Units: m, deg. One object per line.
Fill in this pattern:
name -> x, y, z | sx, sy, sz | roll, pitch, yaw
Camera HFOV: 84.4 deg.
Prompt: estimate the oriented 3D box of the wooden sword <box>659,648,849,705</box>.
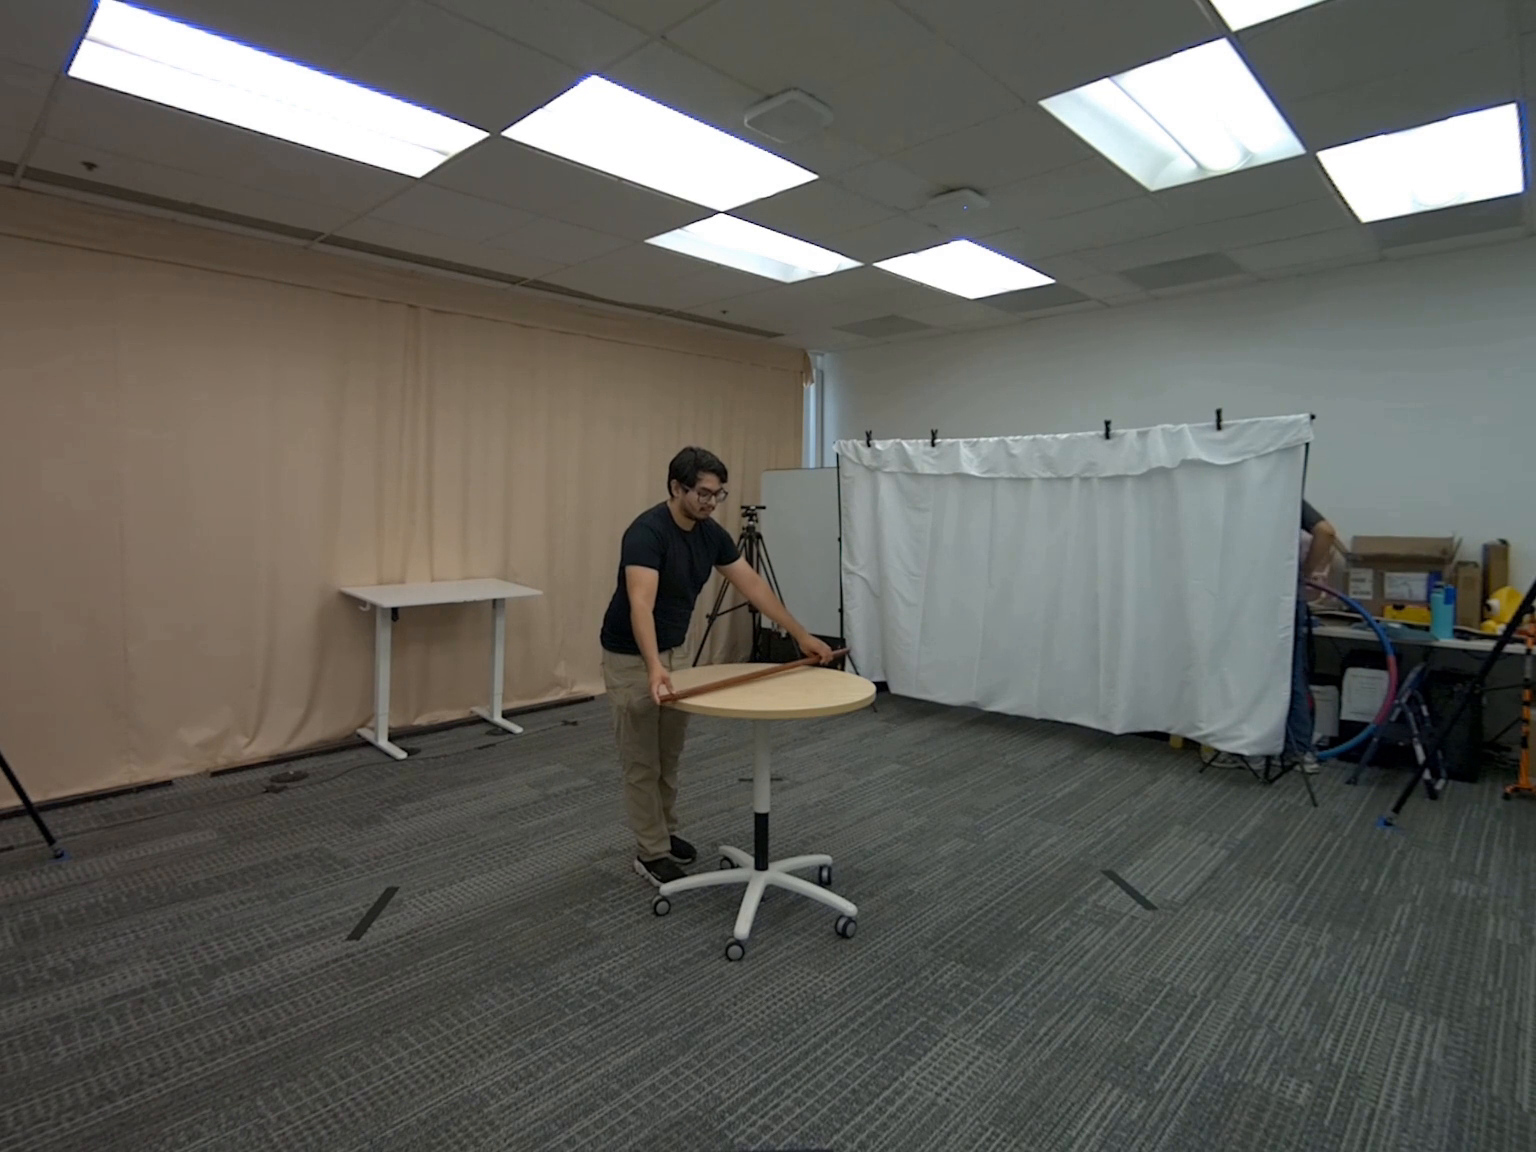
wooden sword -> -0.017, 0.346, 2.930 | 0.994, 0.051, 0.025 | -6, 27, -44
